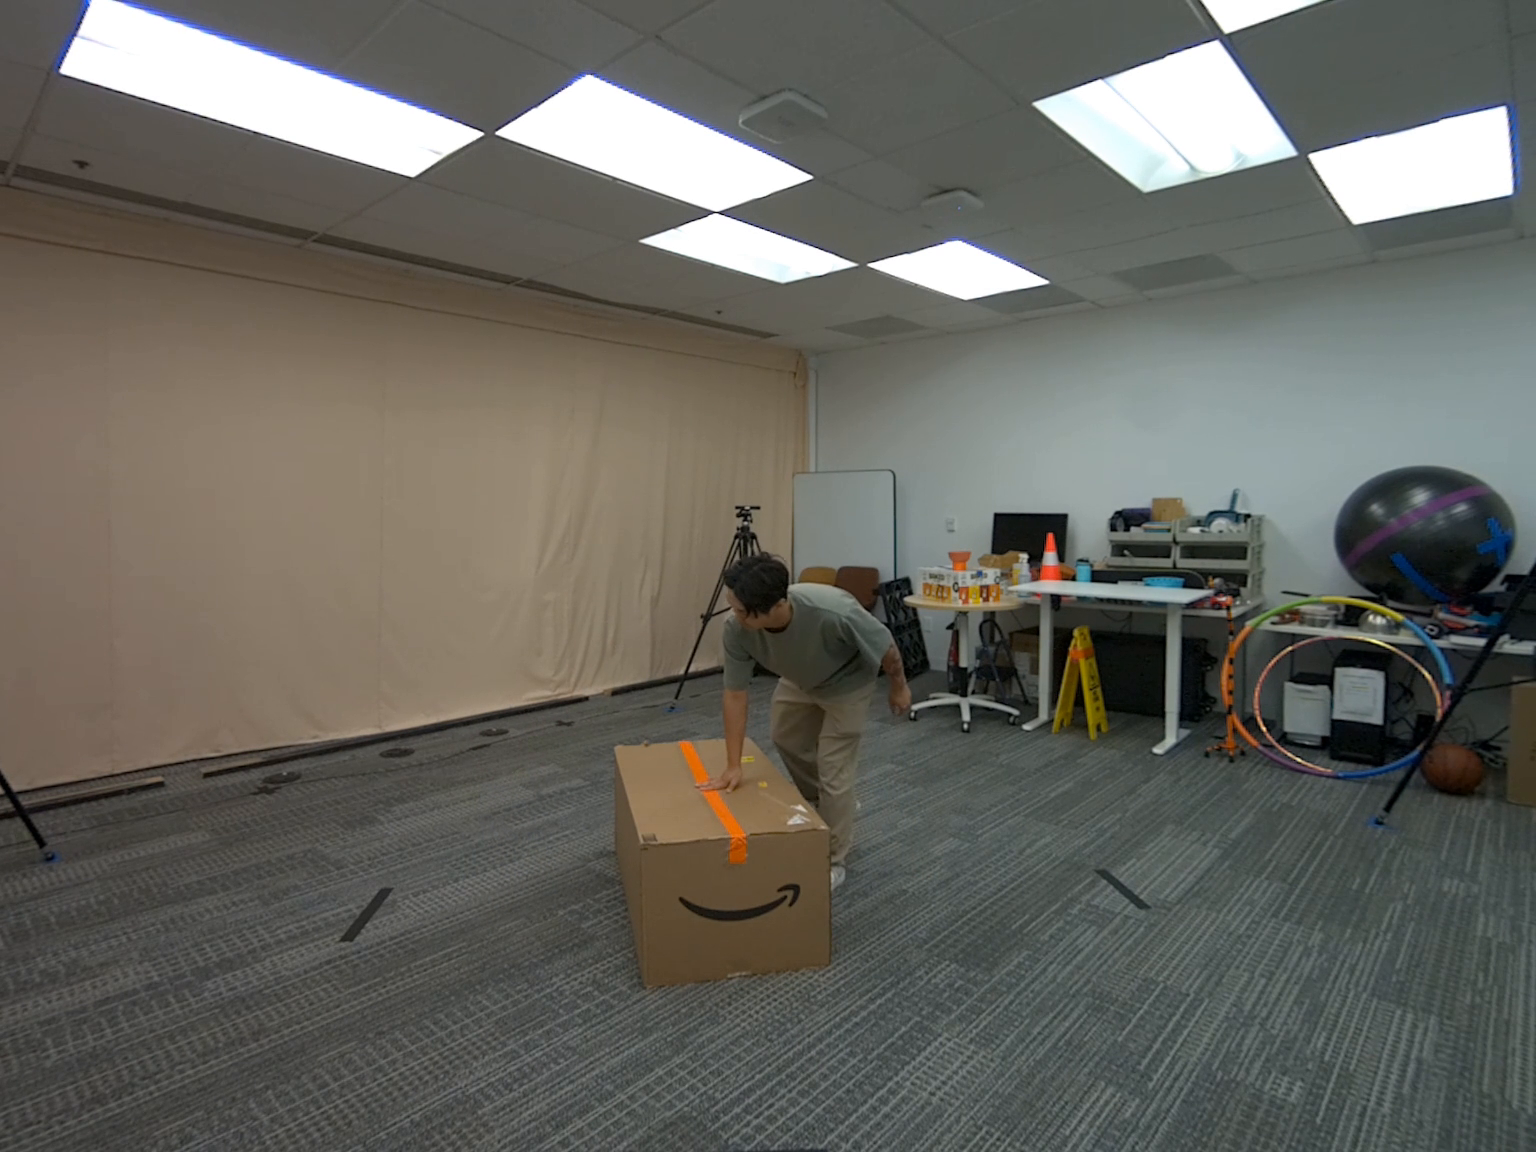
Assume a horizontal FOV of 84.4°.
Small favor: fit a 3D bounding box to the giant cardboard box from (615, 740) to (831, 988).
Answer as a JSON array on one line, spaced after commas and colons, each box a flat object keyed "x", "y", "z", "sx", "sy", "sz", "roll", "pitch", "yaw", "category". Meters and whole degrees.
[{"x": -0.218, "y": 0.933, "z": 2.973, "sx": 0.570, "sy": 0.425, "sz": 1.042, "roll": -1, "pitch": 4, "yaw": -14, "category": "giant cardboard box"}]
